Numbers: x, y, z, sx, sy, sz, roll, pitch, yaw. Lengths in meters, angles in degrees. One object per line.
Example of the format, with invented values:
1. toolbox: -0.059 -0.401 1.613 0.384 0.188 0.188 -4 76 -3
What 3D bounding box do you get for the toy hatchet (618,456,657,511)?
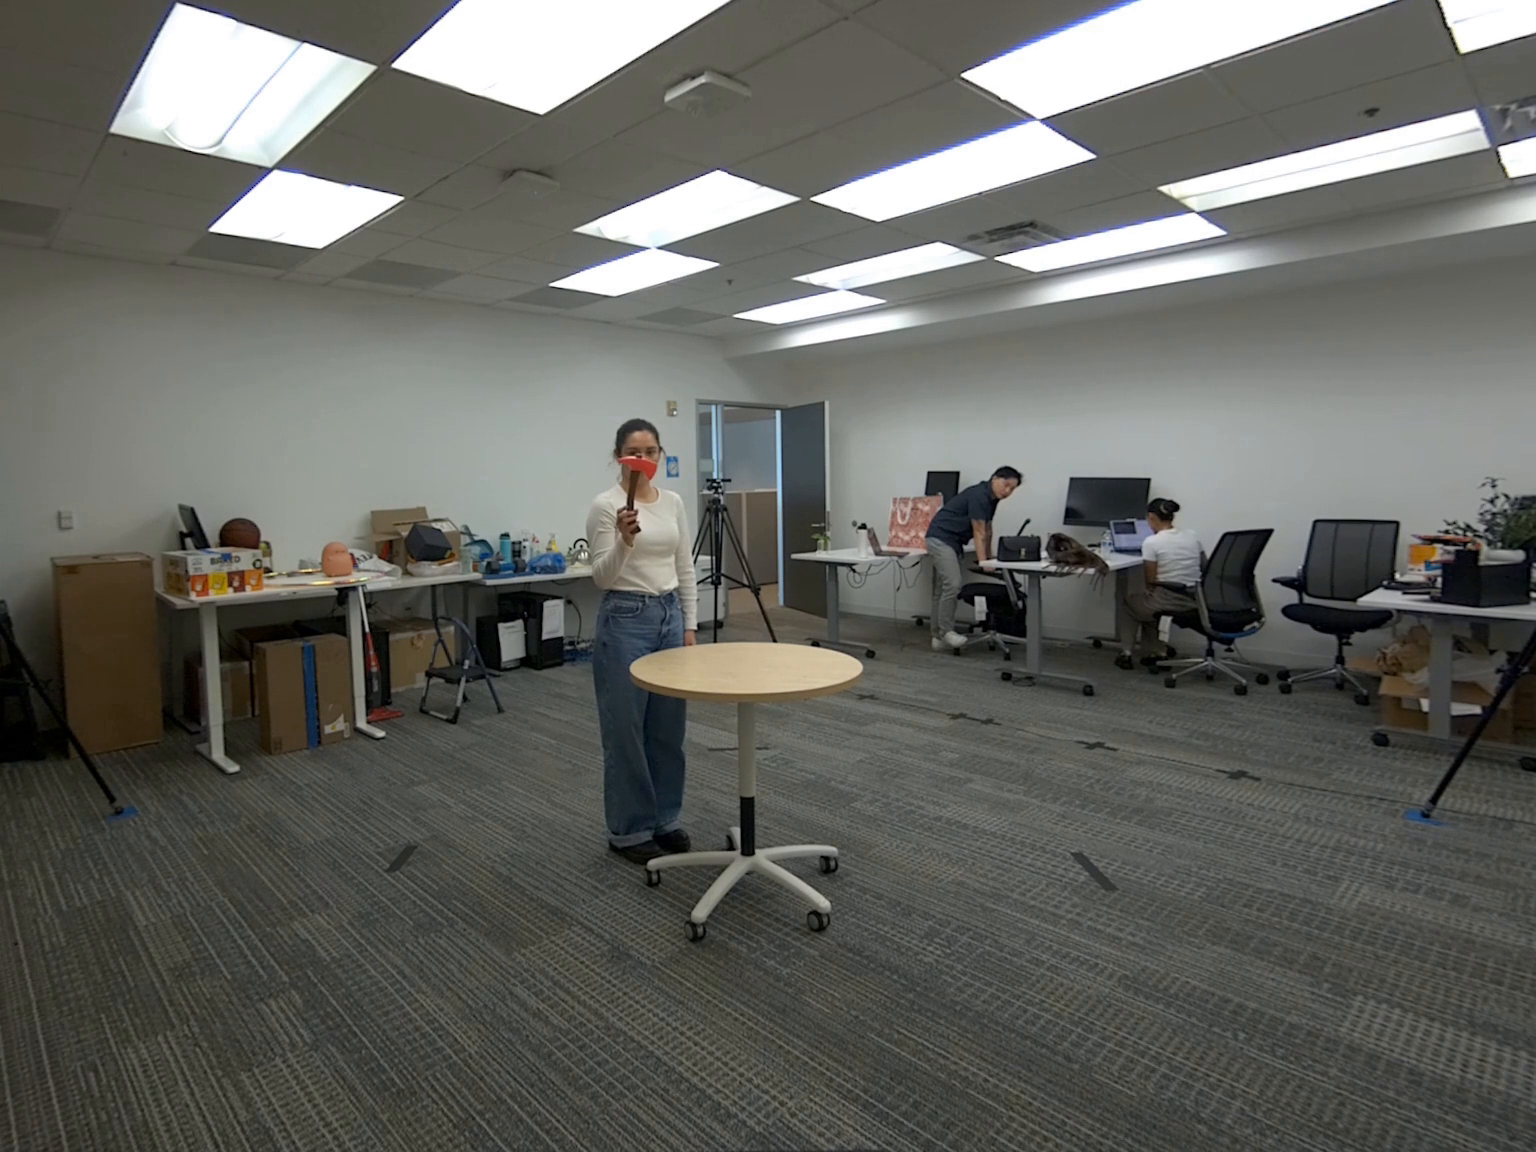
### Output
1. toy hatchet: -0.426 -0.273 2.853 0.129 0.265 0.030 -13 23 -19
